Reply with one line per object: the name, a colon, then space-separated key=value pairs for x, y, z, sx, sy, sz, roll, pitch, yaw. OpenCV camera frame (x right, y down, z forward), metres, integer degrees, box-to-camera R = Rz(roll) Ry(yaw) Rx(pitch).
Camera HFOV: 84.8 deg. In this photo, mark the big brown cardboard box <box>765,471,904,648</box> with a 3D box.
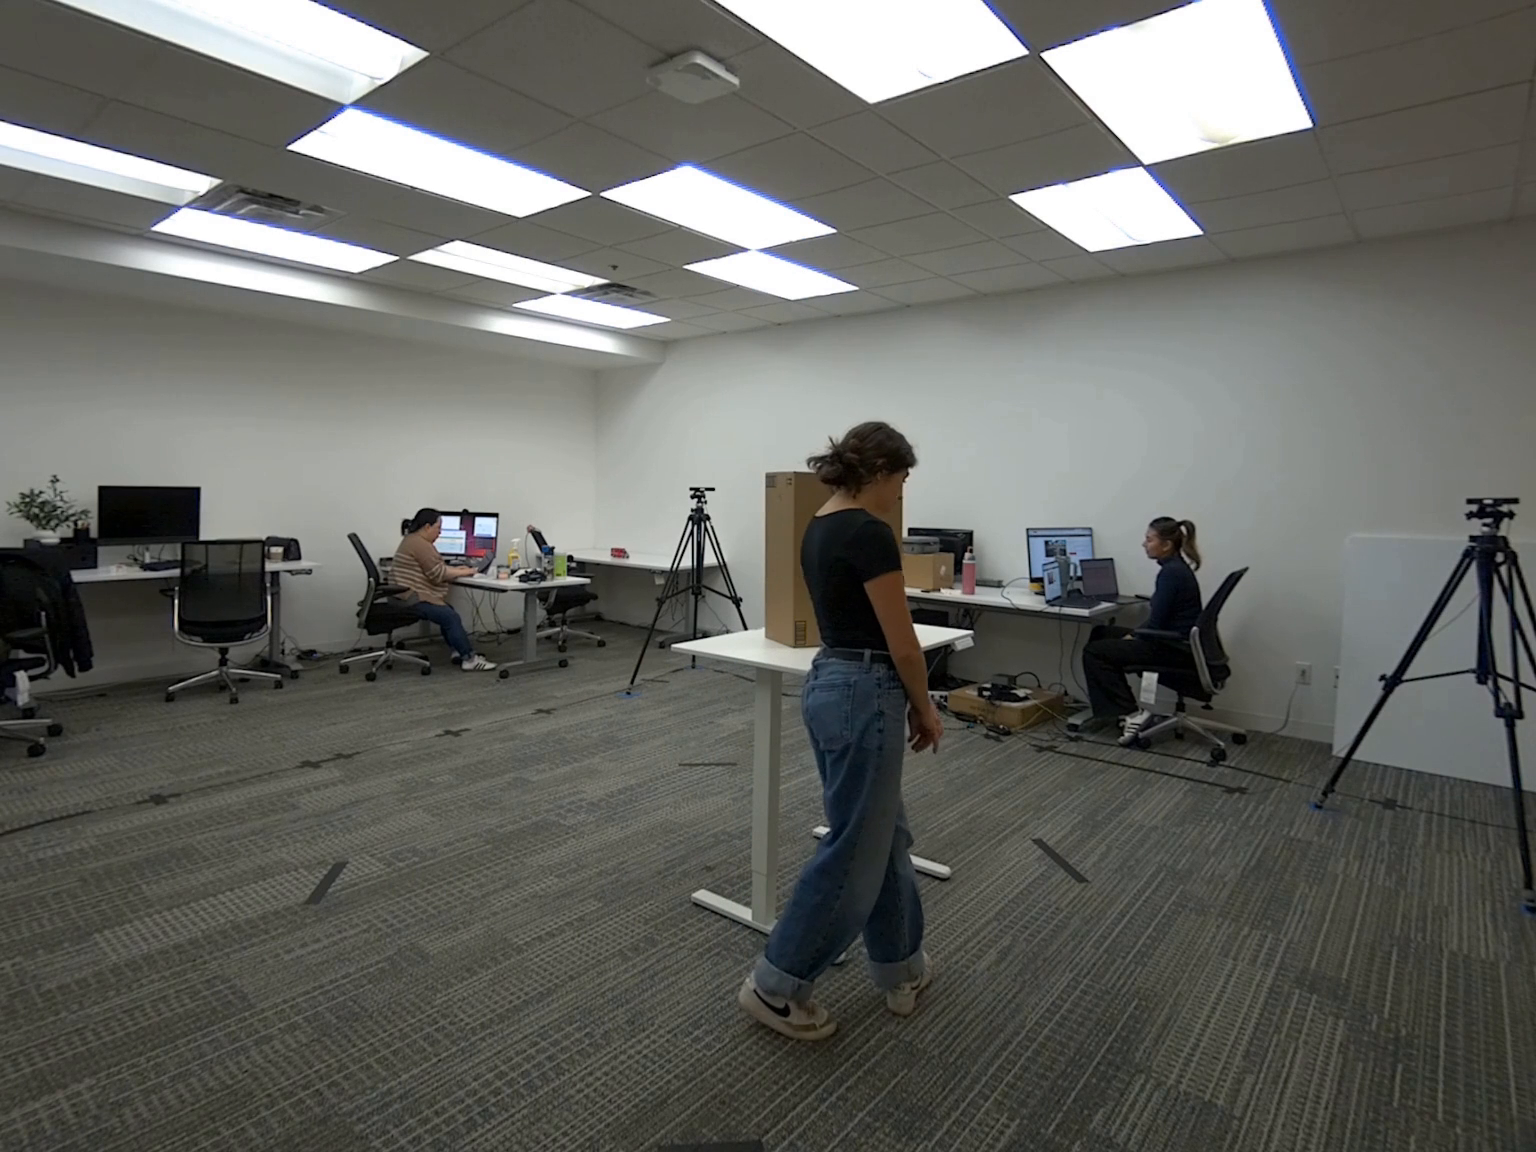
big brown cardboard box: x=0.209 y=-0.063 z=2.884 sx=0.408 sy=0.587 sz=0.239 roll=-2 pitch=3 yaw=-23
